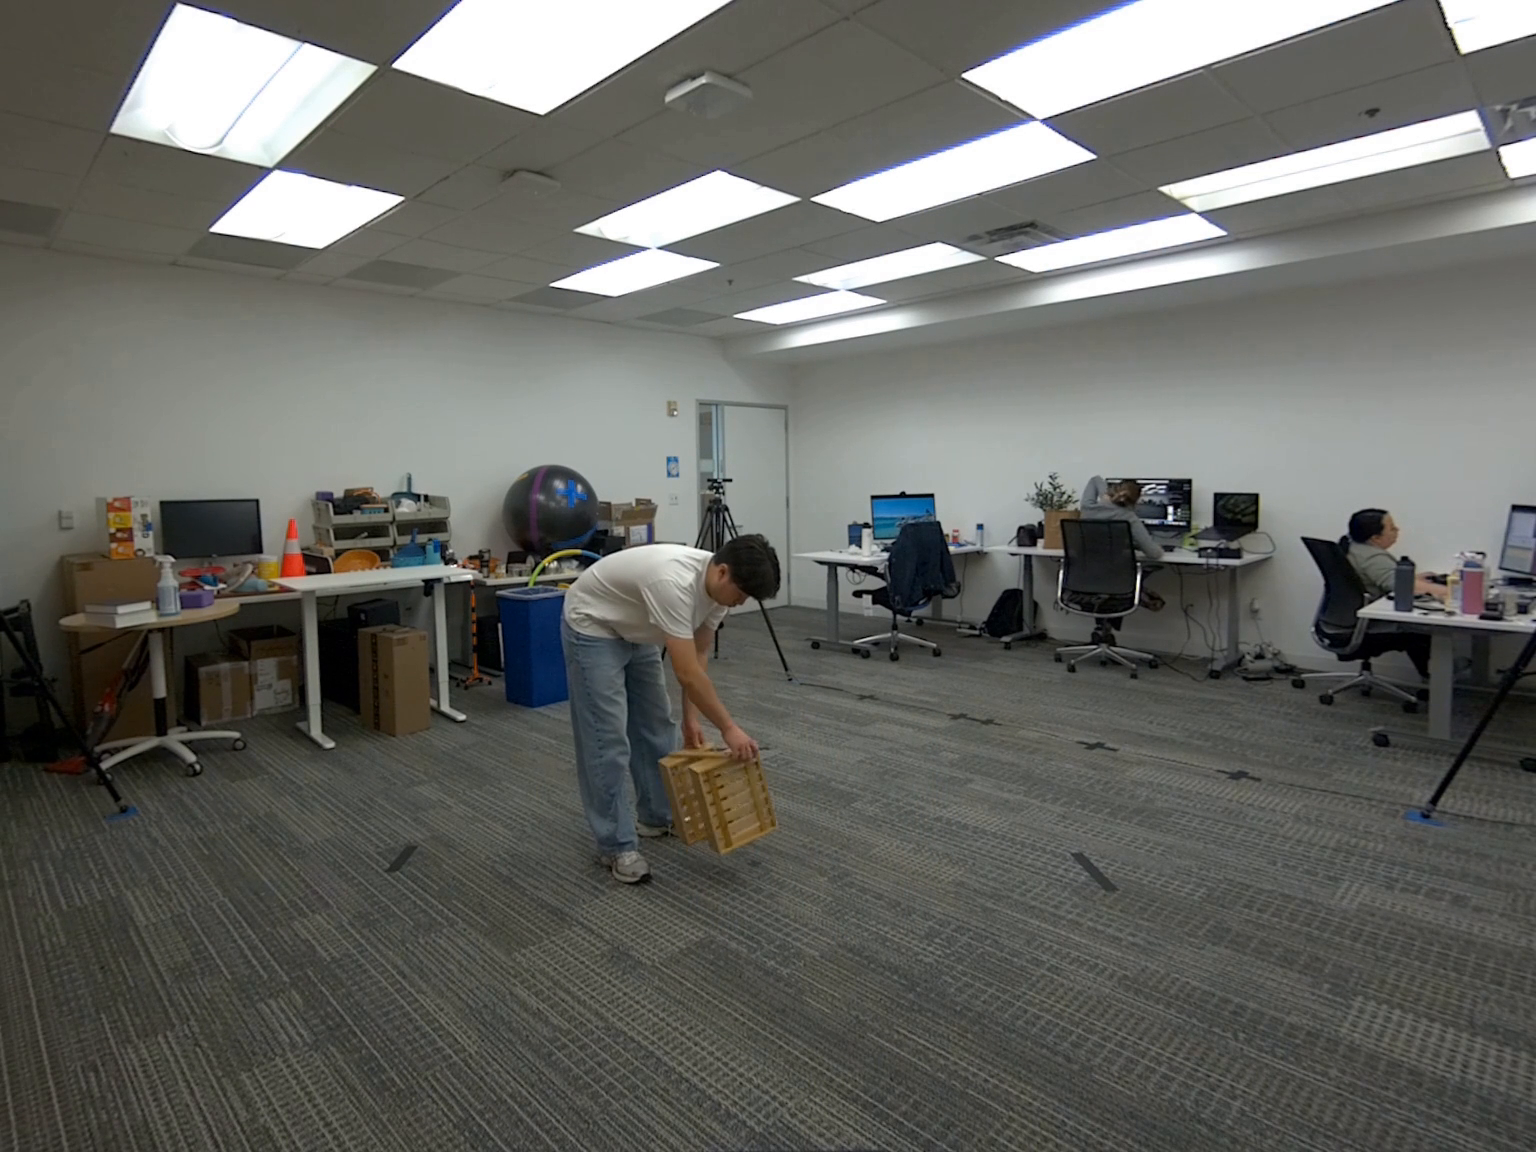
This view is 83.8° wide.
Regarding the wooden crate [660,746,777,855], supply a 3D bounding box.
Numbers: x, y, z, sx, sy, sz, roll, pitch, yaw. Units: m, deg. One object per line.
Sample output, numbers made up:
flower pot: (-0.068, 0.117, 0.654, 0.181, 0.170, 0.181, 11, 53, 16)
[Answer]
wooden crate: (-0.176, 0.778, 3.046, 0.297, 0.322, 0.279, -17, 7, -25)
